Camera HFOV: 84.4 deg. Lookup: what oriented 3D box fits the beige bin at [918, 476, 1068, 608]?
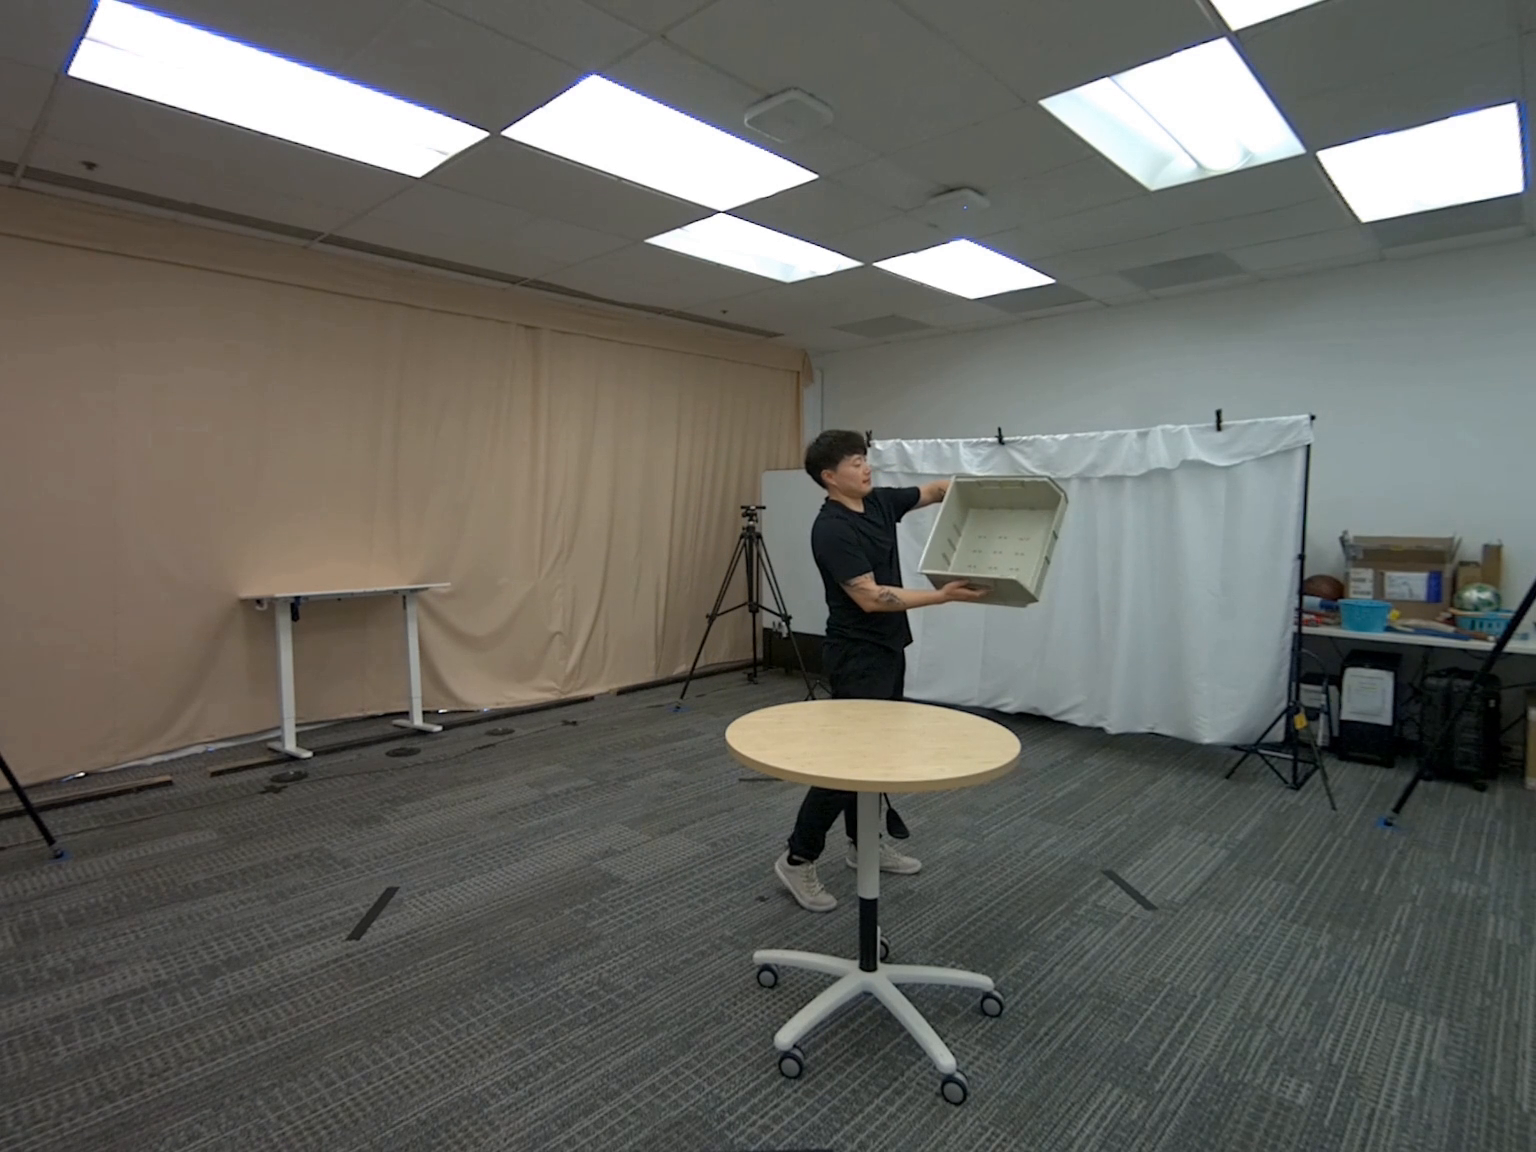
[{"bbox_3d":[0.783,-0.125,2.873,0.390,0.423,0.182,5,-31,39],"label":"beige bin"}]
